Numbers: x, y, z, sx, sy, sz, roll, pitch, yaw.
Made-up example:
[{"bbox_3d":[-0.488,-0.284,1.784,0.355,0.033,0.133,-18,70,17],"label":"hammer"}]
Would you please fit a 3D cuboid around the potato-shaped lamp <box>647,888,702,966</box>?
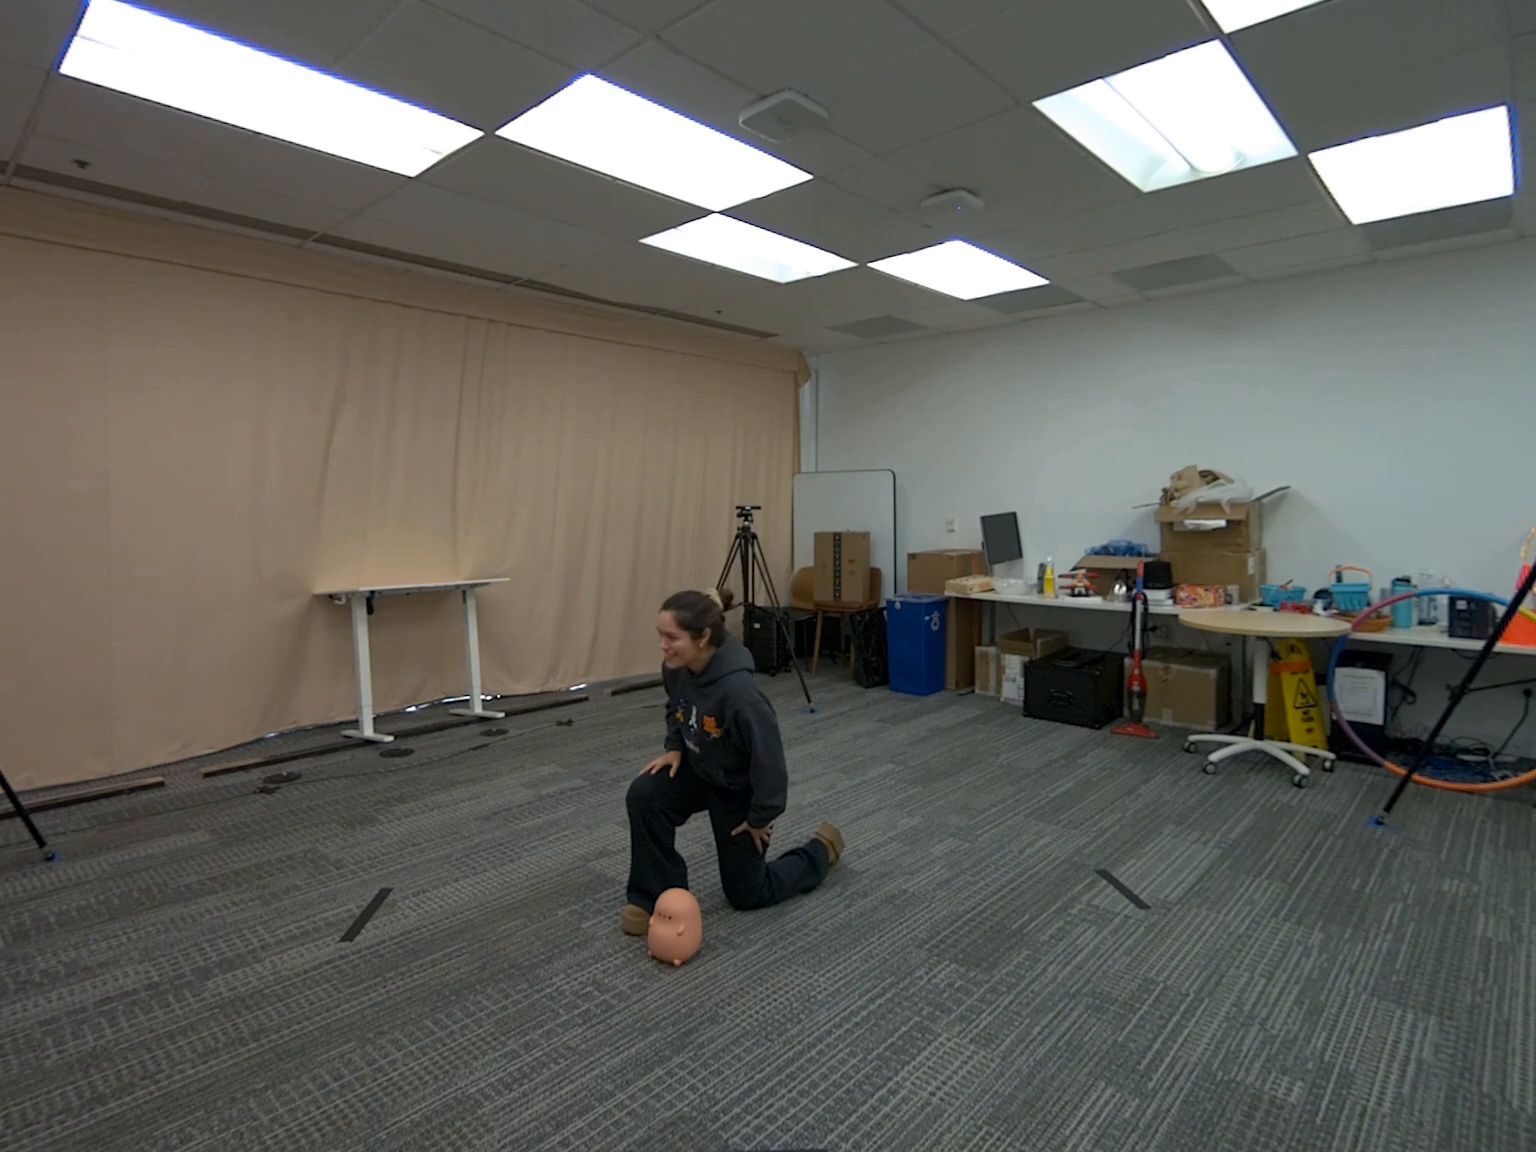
[{"bbox_3d":[-0.263,1.080,2.611,0.170,0.198,0.166,1,3,38],"label":"potato-shaped lamp"}]
